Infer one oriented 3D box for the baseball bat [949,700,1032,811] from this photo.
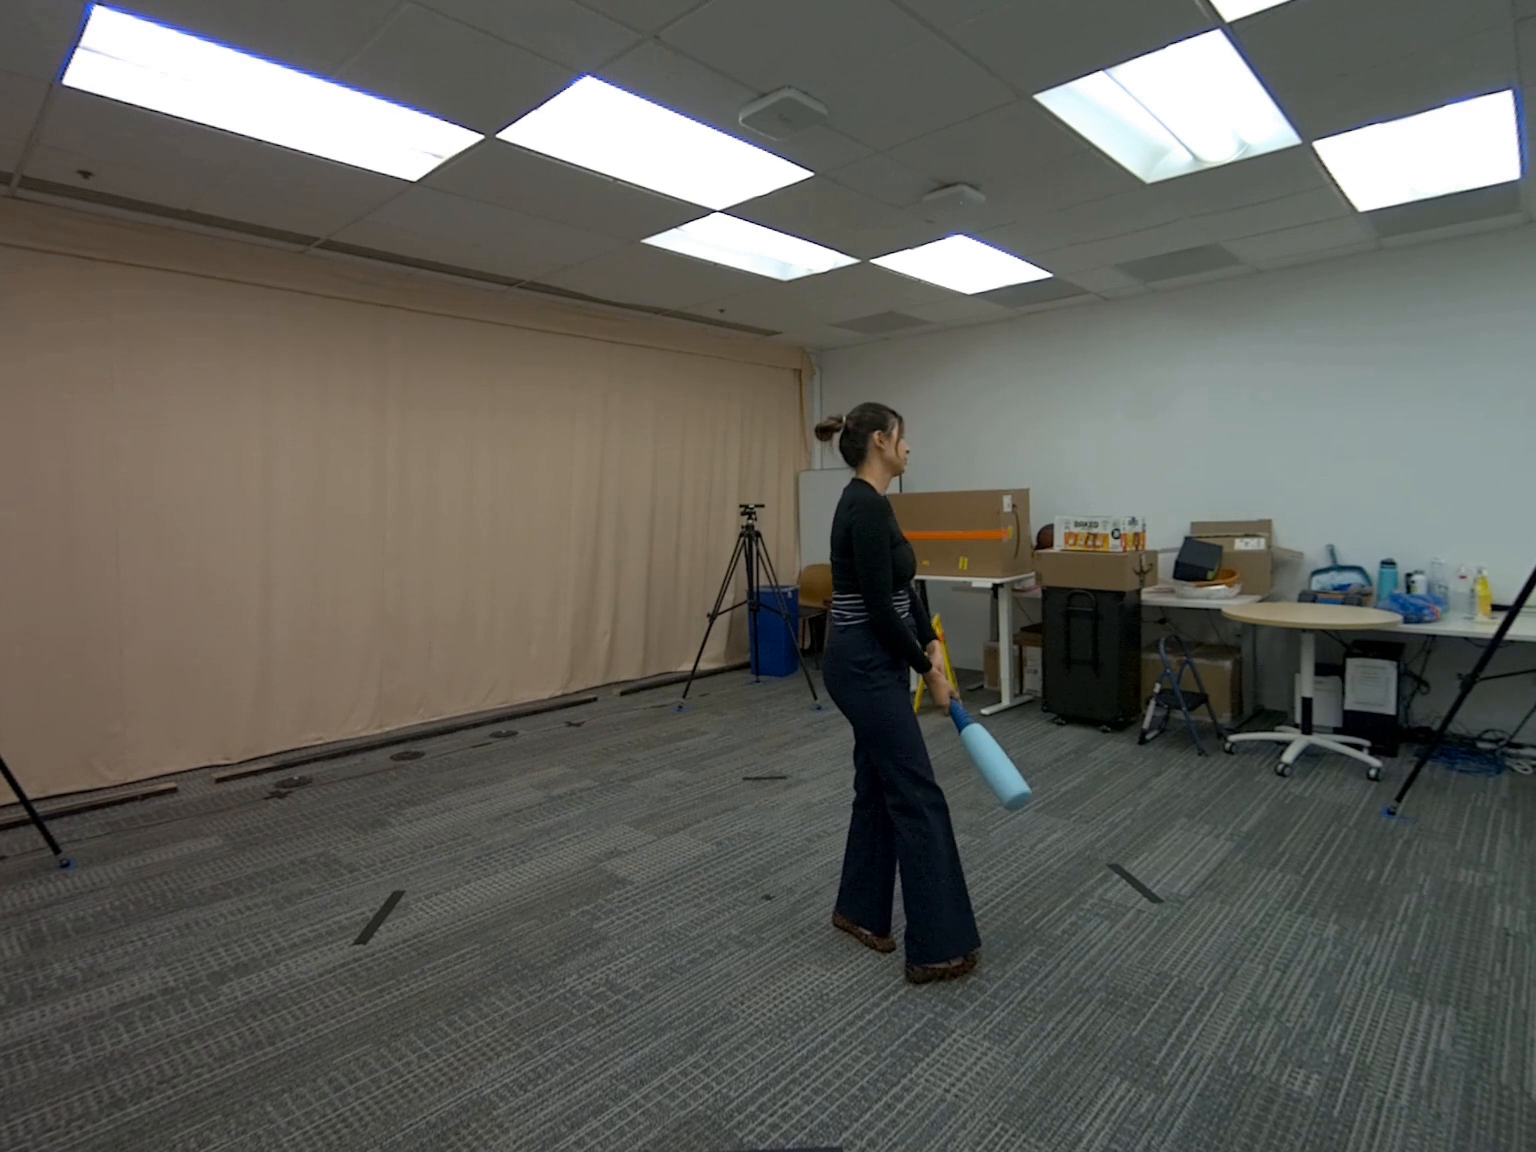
[{"bbox_3d":[0.604,0.430,2.429,0.087,0.088,0.560,-3,40,-21],"label":"baseball bat"}]
